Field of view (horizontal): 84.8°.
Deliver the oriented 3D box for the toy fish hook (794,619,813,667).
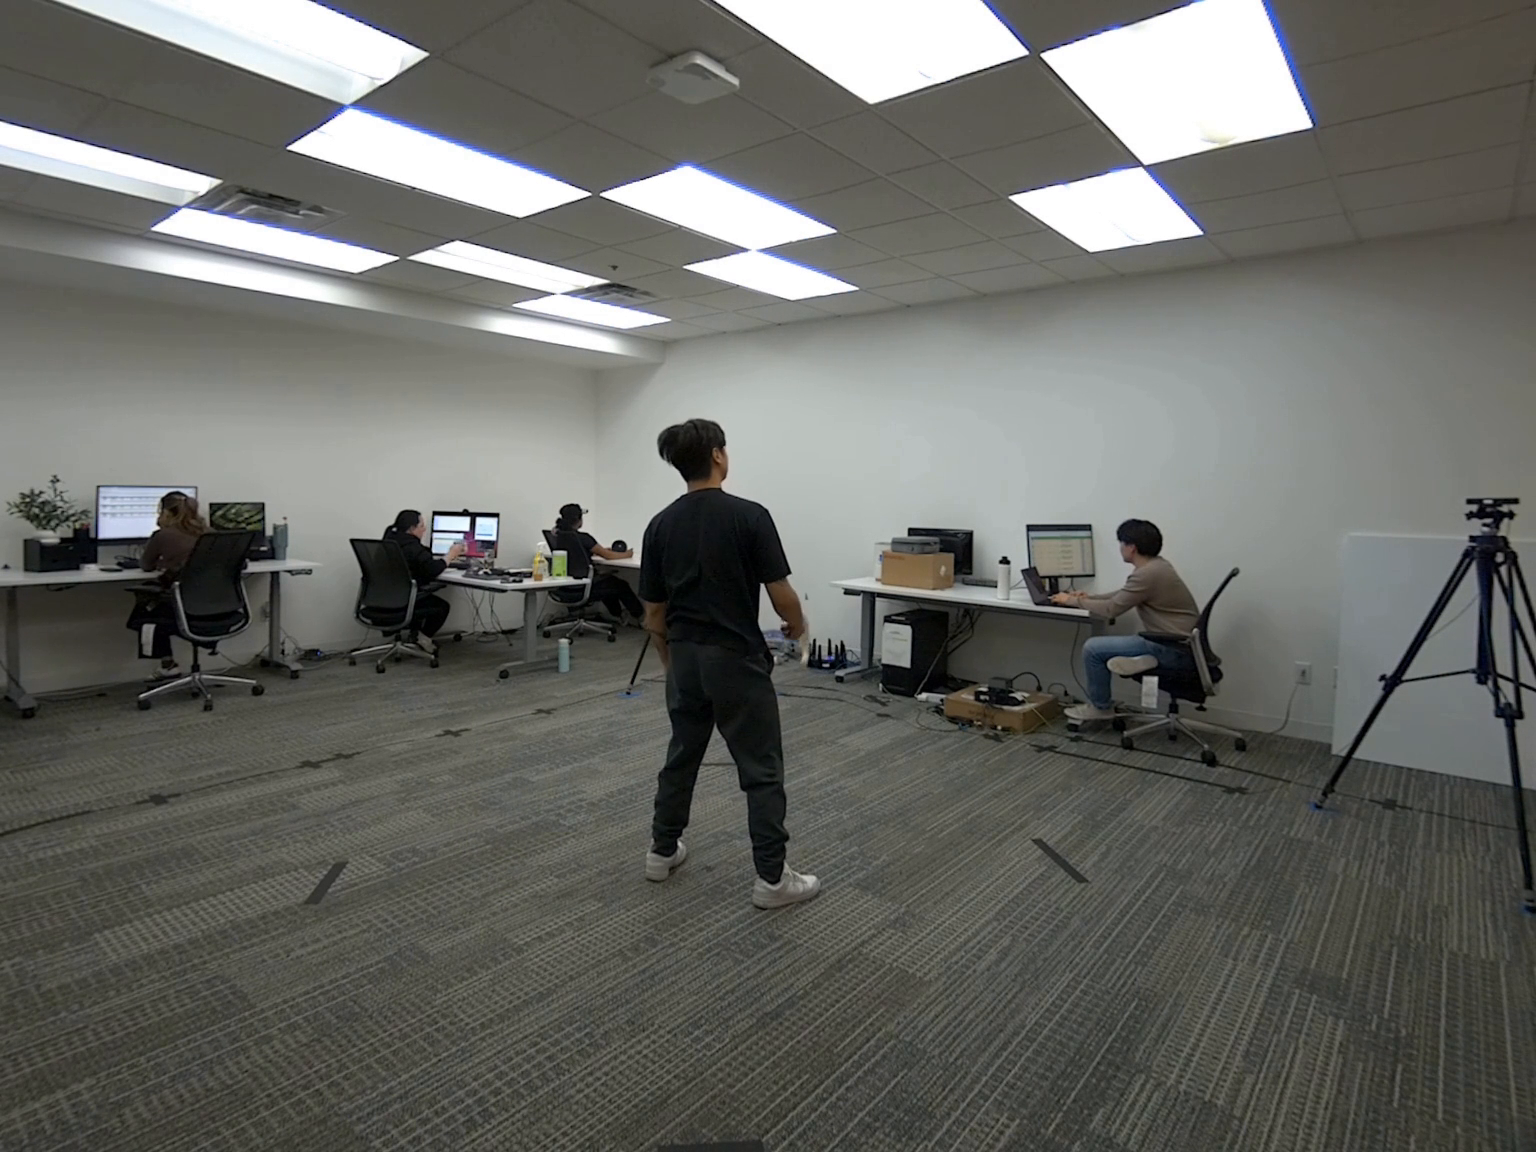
[{"bbox_3d":[0.118,0.239,3.244,0.049,0.226,0.498,-13,-5,9],"label":"toy fish hook"}]
